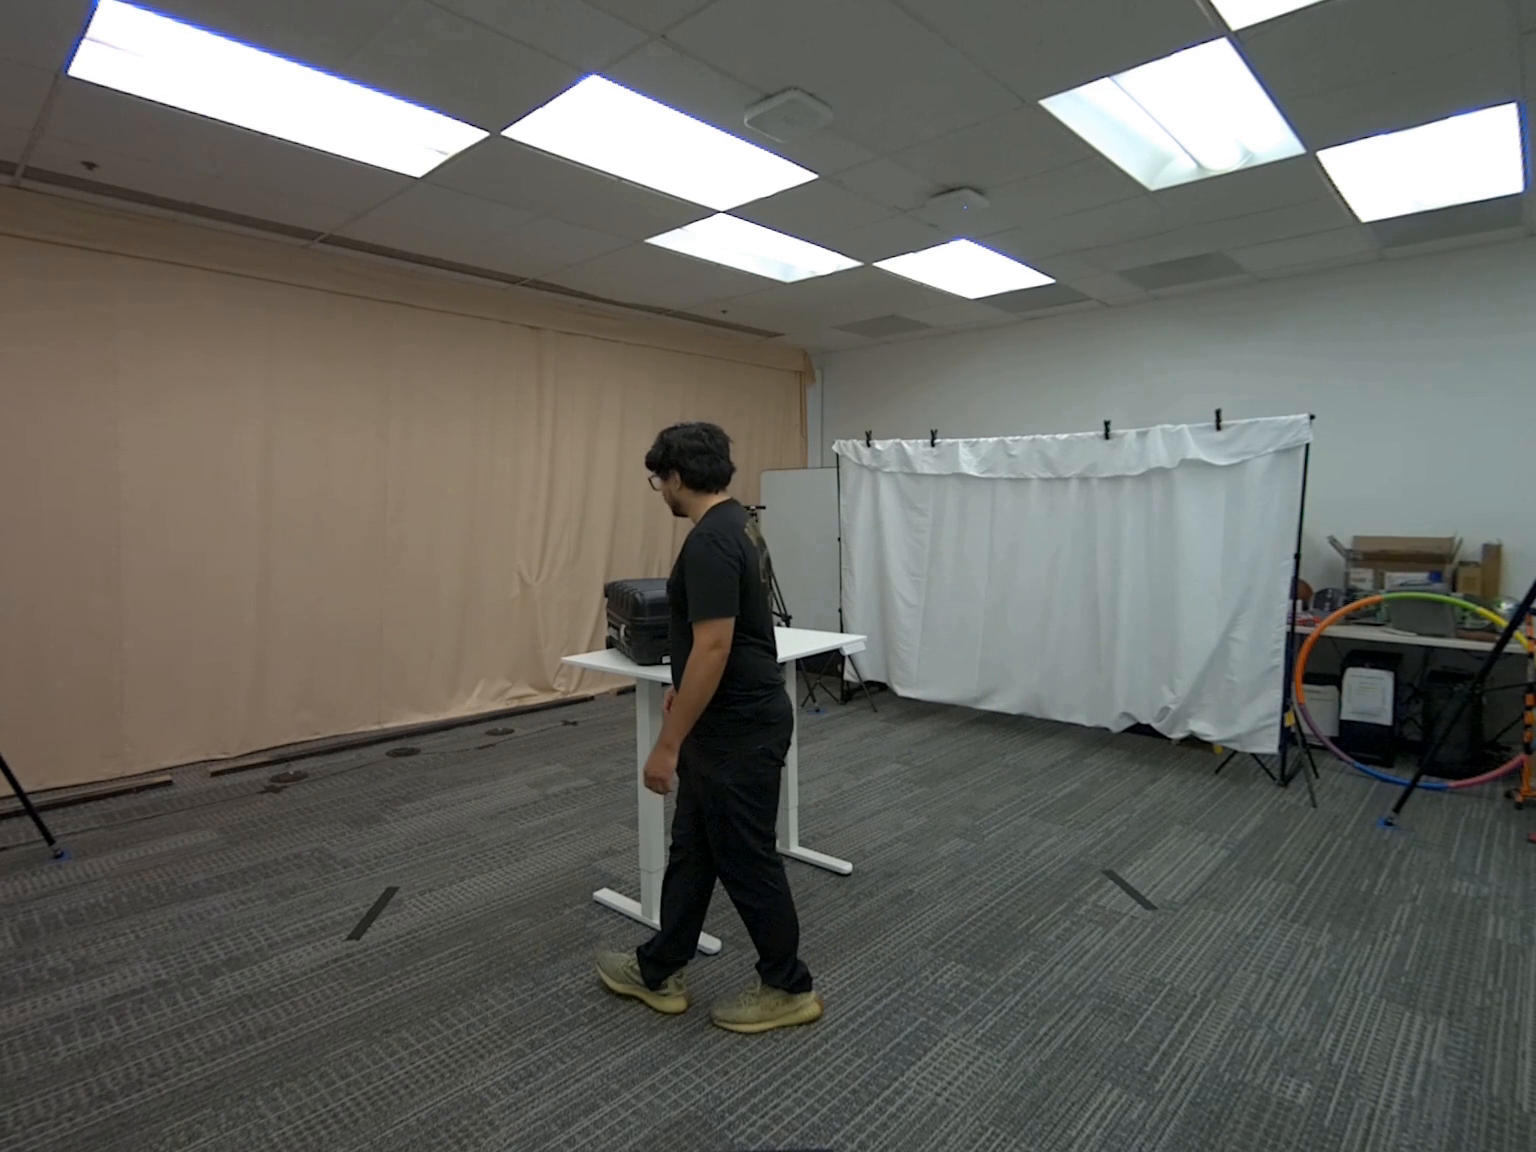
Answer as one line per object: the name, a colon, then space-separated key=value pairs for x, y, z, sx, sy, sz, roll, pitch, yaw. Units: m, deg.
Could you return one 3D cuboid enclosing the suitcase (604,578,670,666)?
suitcase: x=-0.356 y=0.152 z=2.955 sx=0.368 sy=0.248 sz=0.561 roll=-2 pitch=5 yaw=-20
